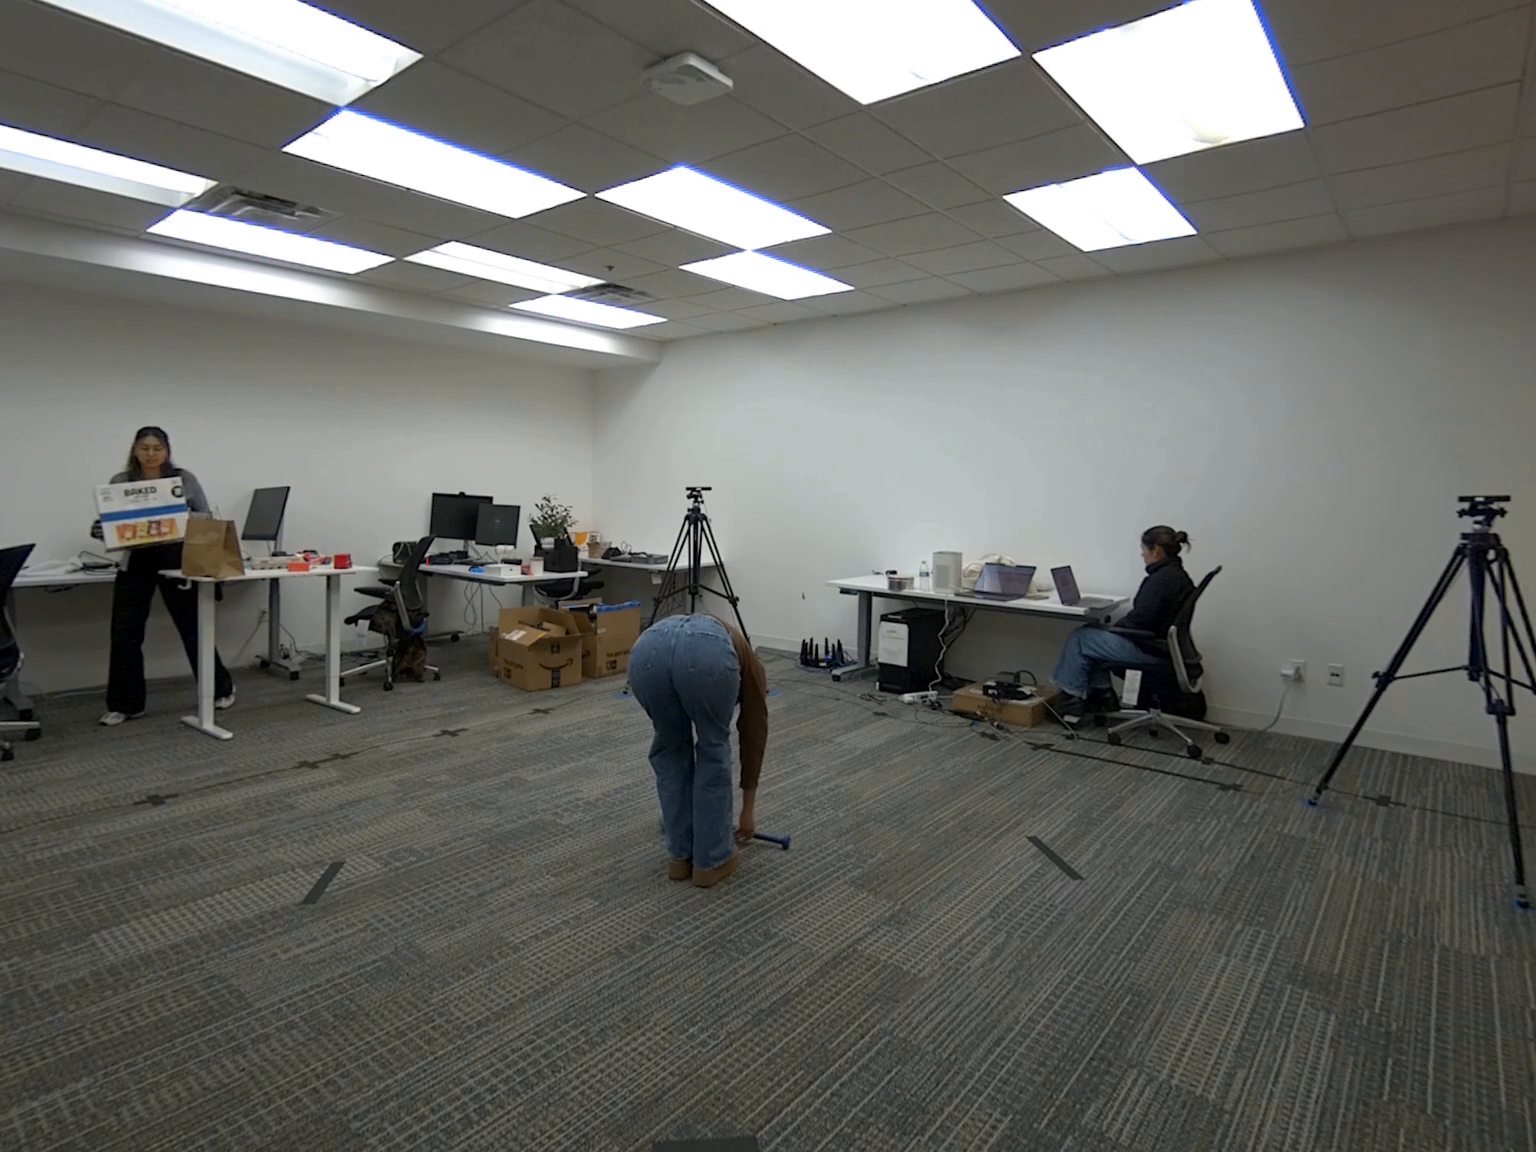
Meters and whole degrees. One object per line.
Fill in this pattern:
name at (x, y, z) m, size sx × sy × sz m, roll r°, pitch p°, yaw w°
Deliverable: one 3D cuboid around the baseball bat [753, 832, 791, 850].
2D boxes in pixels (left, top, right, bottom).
baseball bat at (-0.183, 0.993, 3.366) m, size 0.555 × 0.089 × 0.087 m, roll 4°, pitch 5°, yaw 21°
